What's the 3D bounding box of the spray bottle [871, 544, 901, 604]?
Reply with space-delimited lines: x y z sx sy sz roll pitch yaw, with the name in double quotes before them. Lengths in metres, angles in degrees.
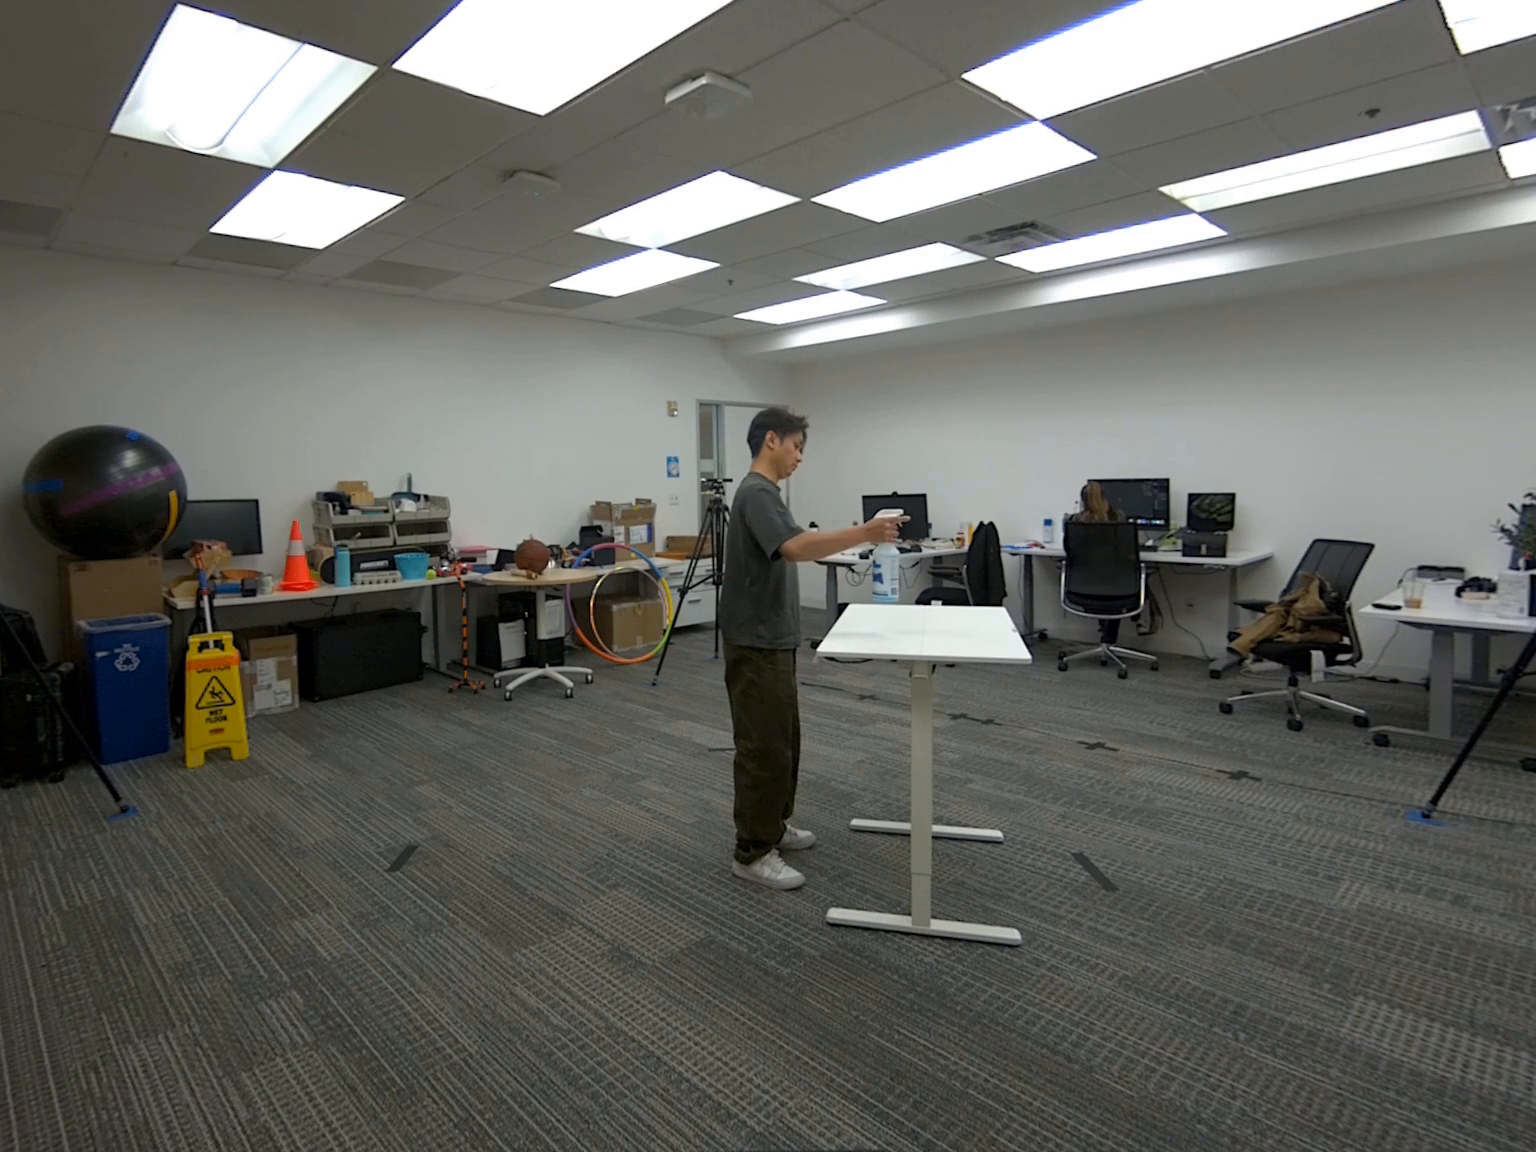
"spray bottle" 0.383 -0.065 2.772 0.092 0.296 0.085 4 7 31
